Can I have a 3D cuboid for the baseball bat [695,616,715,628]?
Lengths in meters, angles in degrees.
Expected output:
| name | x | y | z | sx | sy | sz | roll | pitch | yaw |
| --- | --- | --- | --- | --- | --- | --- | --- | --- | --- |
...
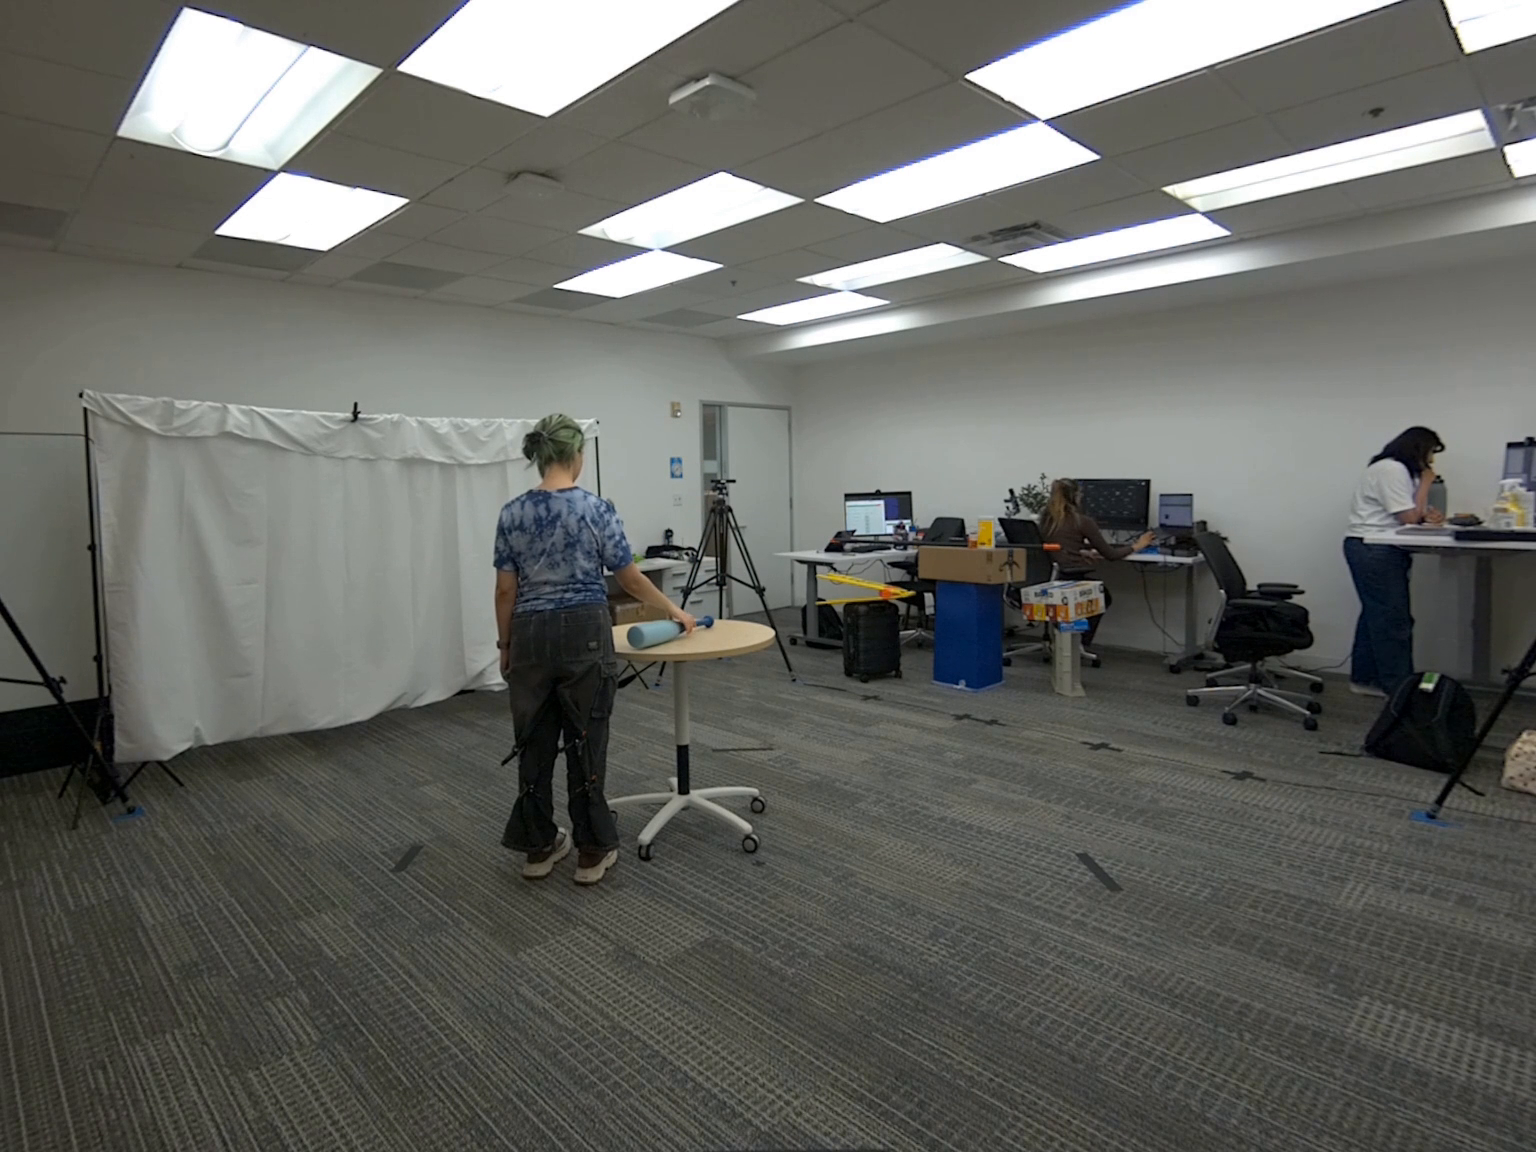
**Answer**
| name | x | y | z | sx | sy | sz | roll | pitch | yaw |
| --- | --- | --- | --- | --- | --- | --- | --- | --- | --- |
| baseball bat | -0.364 | 0.210 | 3.331 | 0.091 | 0.089 | 0.531 | 1 | 3 | 25 |
